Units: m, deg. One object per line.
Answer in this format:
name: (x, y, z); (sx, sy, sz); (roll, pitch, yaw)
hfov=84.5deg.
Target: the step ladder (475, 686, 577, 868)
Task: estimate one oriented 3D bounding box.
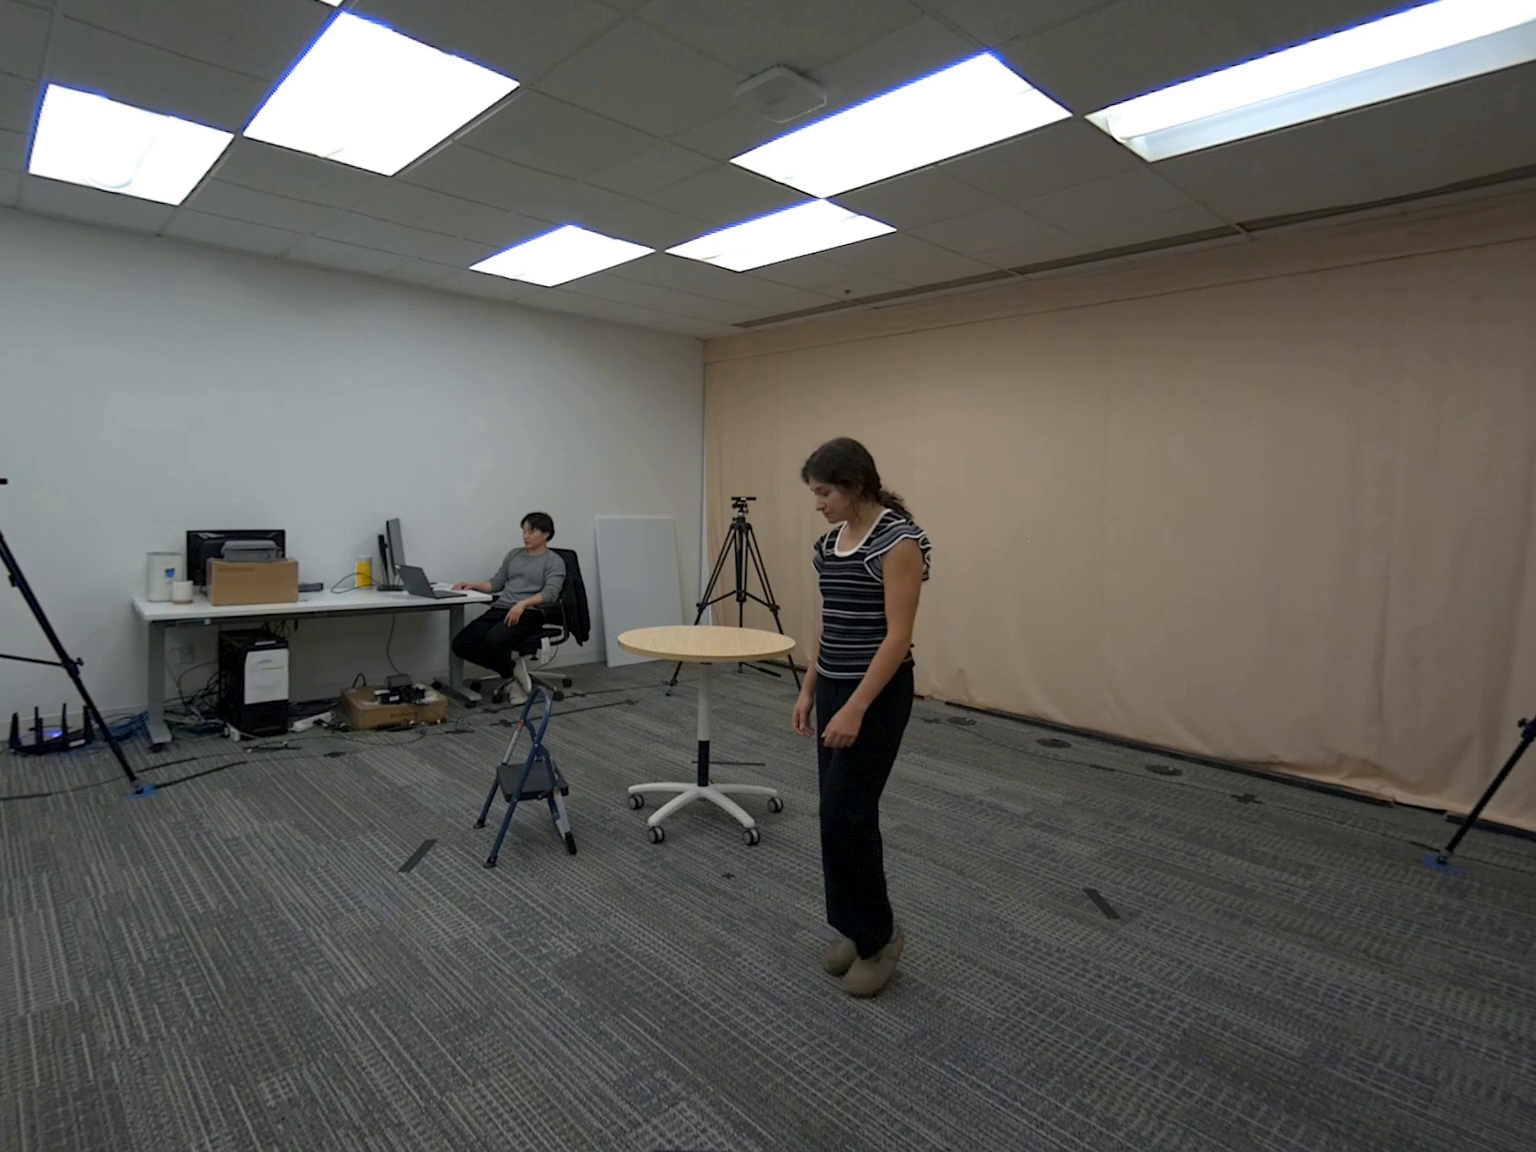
step ladder: (-0.978, 0.762, 3.362); (0.343, 0.604, 0.439); (0, 5, -24)
